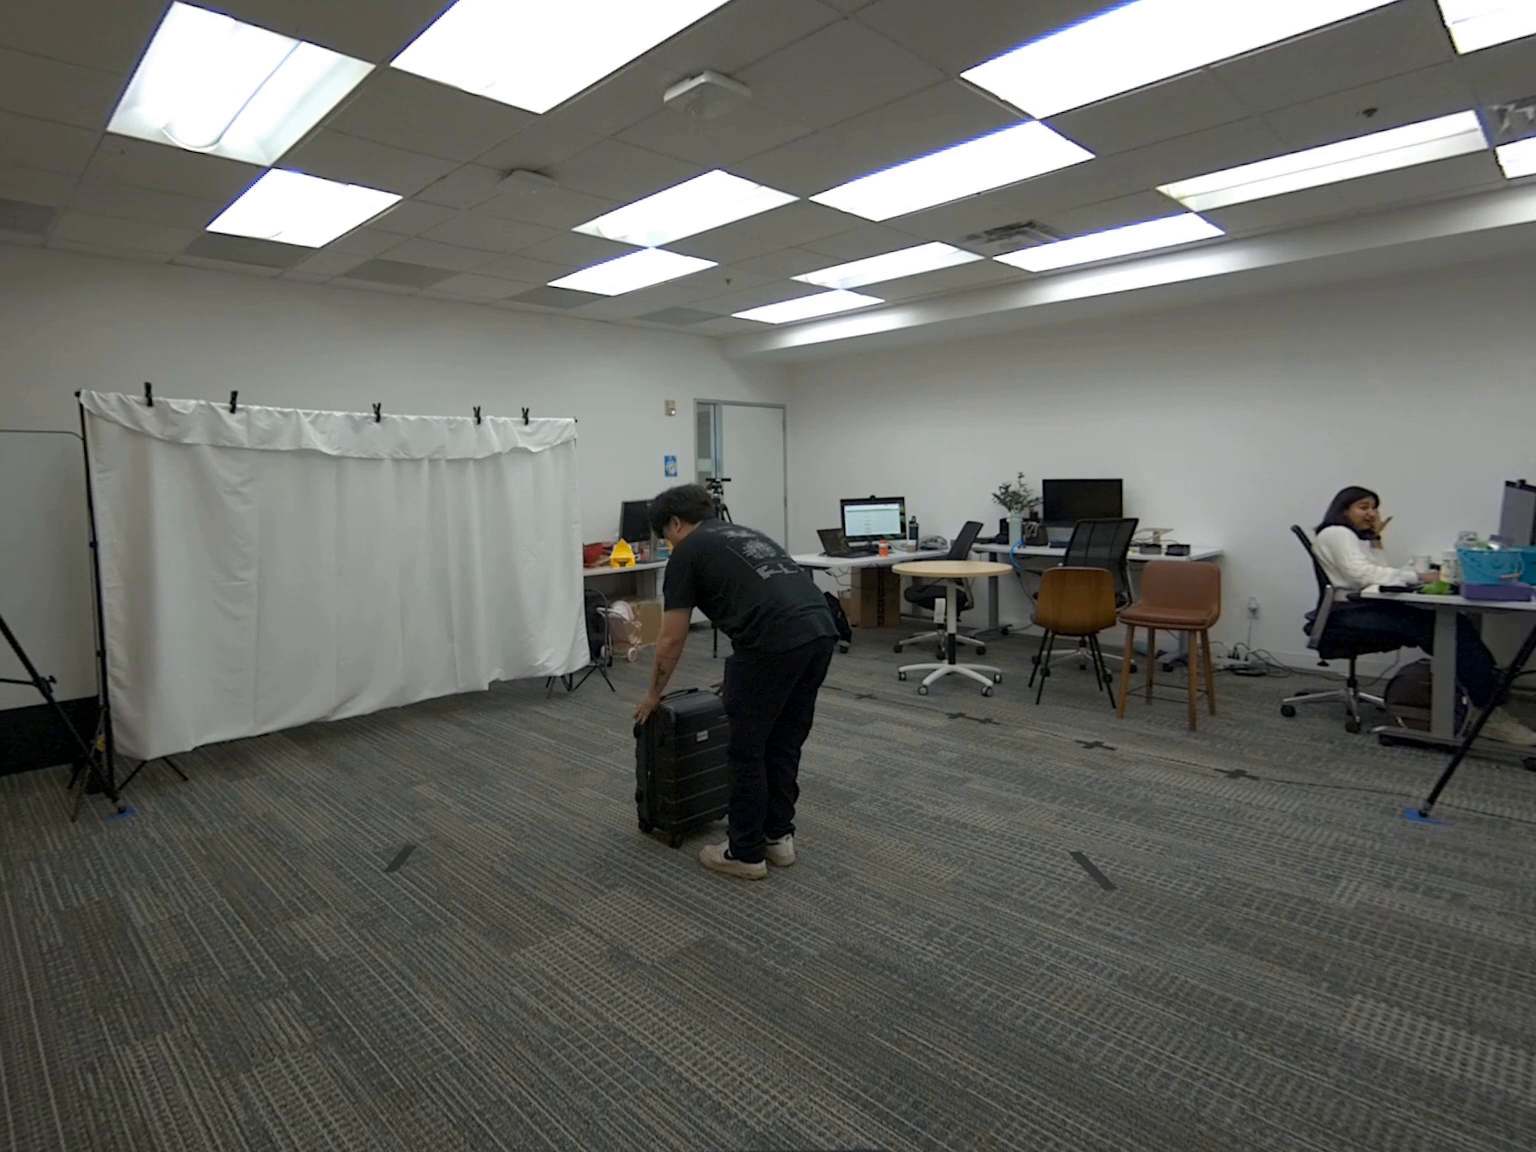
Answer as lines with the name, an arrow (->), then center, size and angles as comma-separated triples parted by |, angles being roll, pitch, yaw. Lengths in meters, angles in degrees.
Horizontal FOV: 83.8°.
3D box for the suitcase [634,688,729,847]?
suitcase -> -0.328, 0.738, 3.399 | 0.366, 0.547, 0.256 | -6, 6, -41
